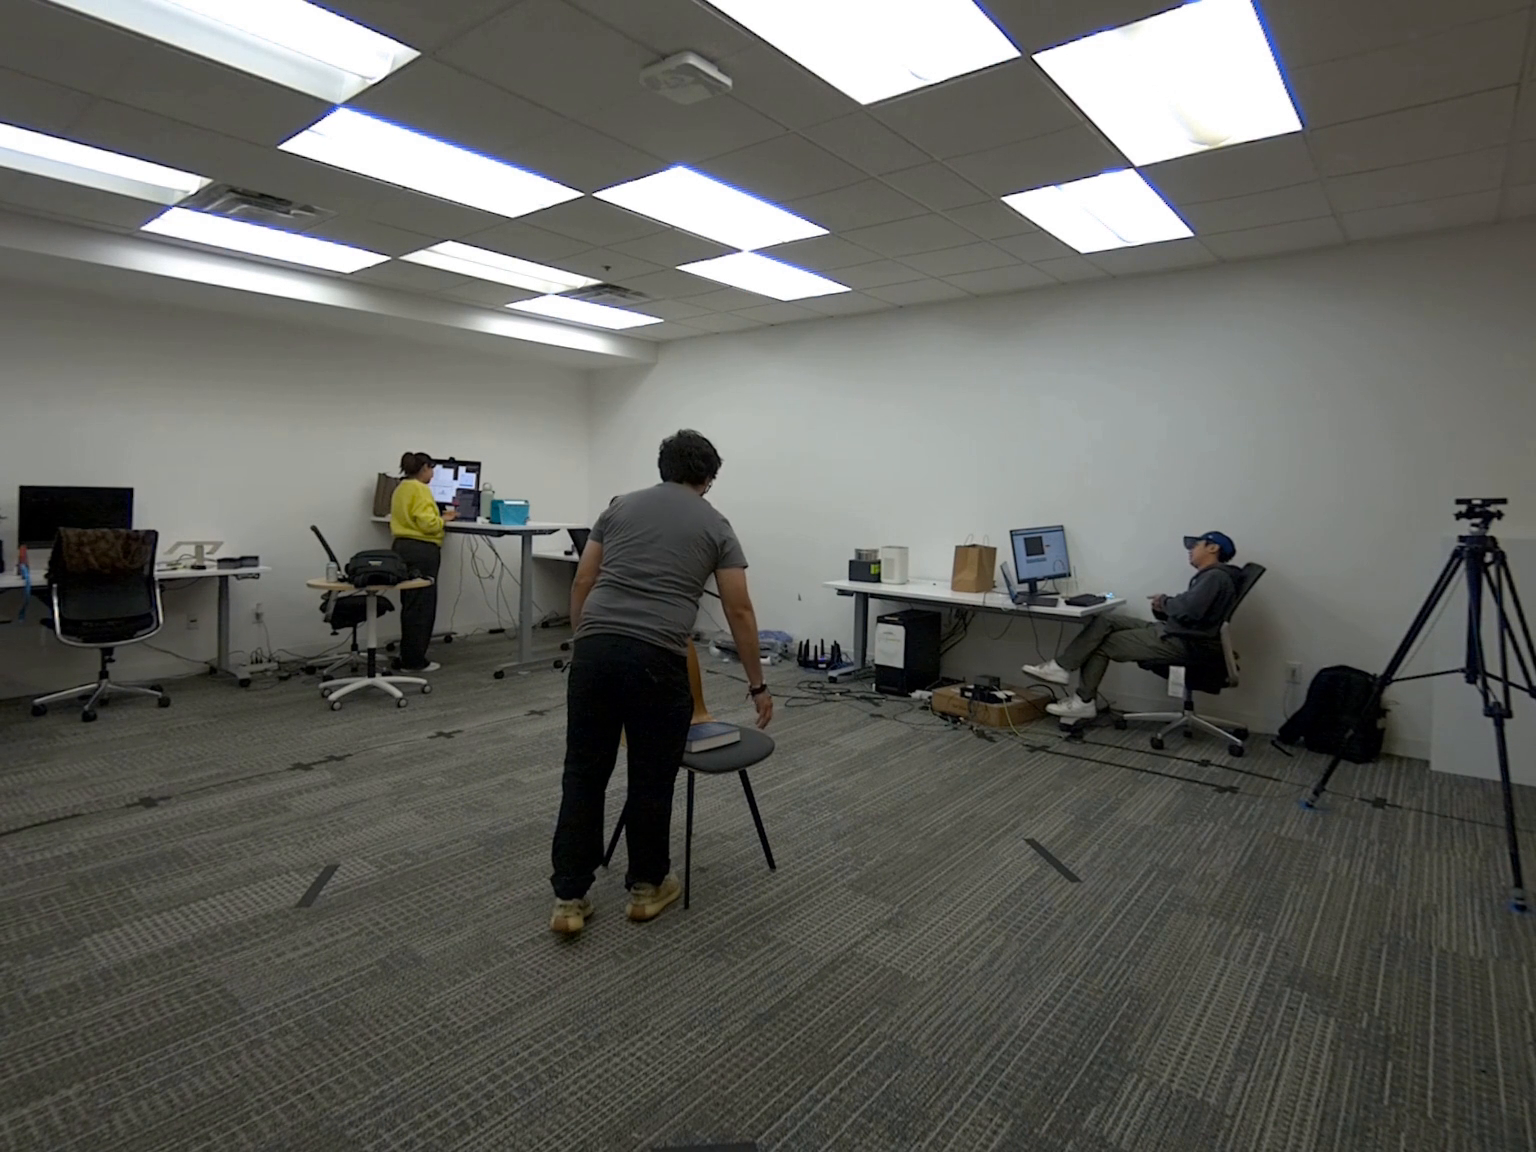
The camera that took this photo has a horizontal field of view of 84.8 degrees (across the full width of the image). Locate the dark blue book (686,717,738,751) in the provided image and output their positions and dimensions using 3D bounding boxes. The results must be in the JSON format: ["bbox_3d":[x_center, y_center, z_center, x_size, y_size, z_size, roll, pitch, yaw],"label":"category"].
[{"bbox_3d":[-0.254,0.564,3.025,0.169,0.045,0.238,2,5,42],"label":"dark blue book"}]
